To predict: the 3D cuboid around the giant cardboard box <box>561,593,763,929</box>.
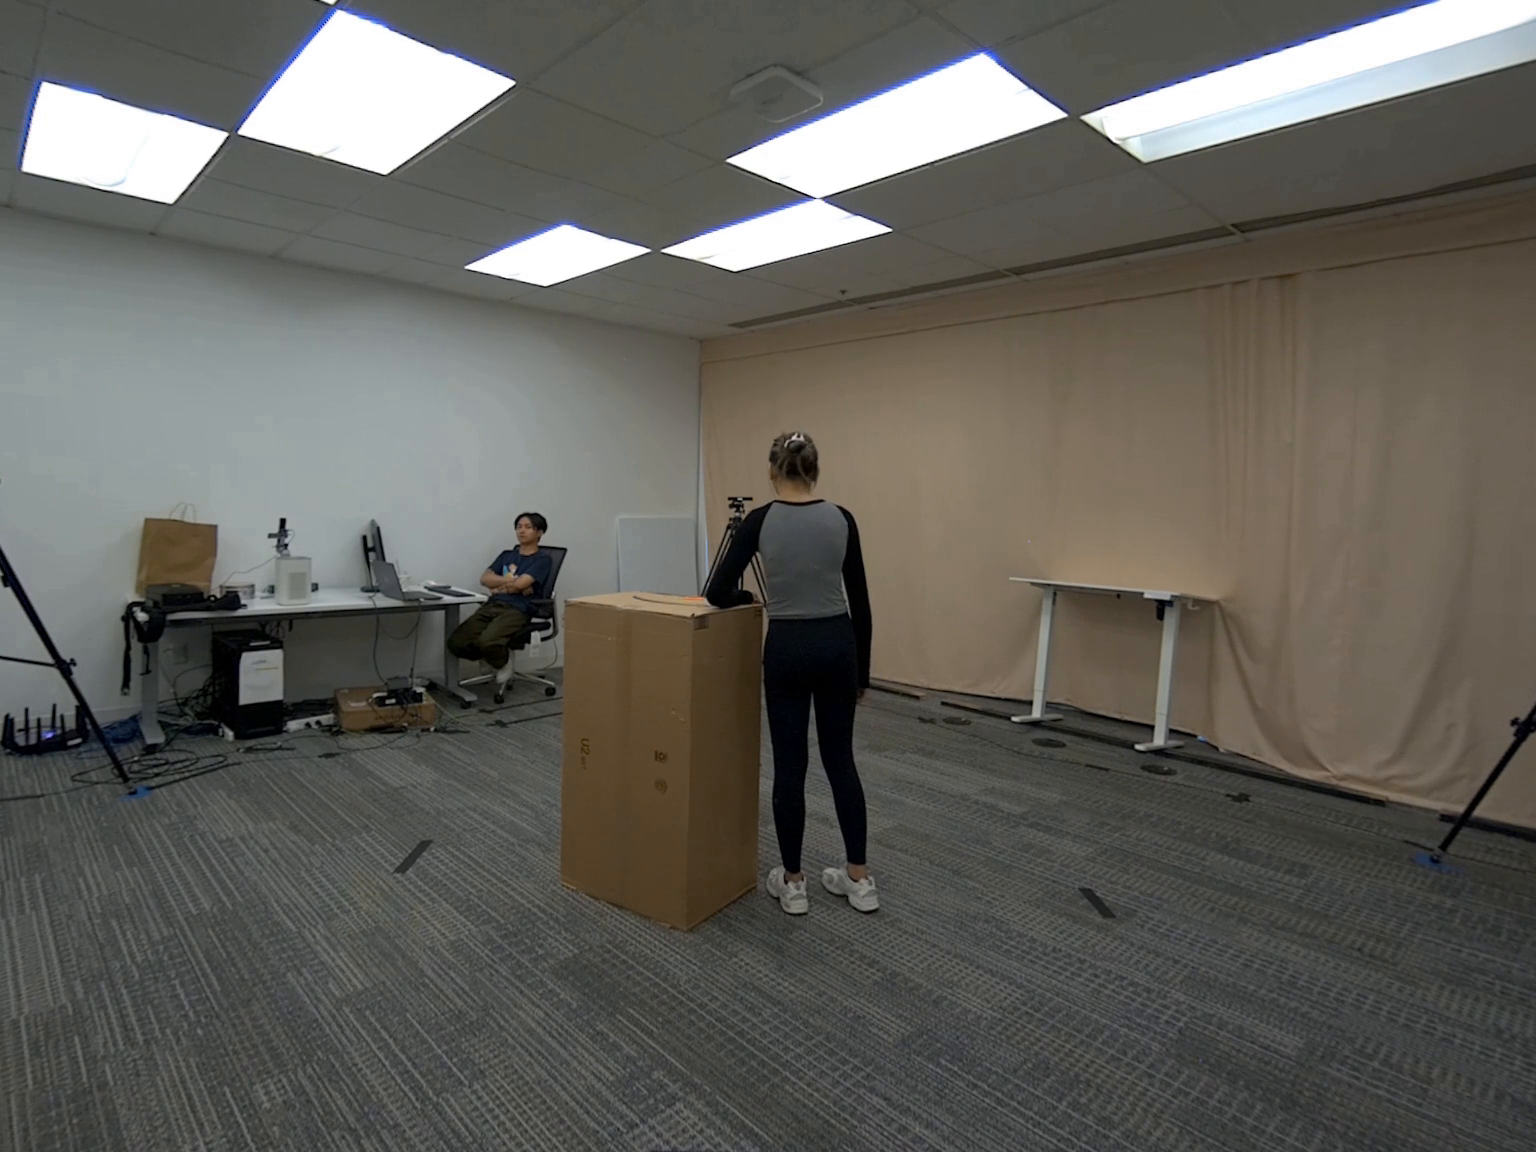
[{"bbox_3d":[-0.390,0.602,3.001,0.591,1.024,0.417,4,4,34],"label":"giant cardboard box"}]
